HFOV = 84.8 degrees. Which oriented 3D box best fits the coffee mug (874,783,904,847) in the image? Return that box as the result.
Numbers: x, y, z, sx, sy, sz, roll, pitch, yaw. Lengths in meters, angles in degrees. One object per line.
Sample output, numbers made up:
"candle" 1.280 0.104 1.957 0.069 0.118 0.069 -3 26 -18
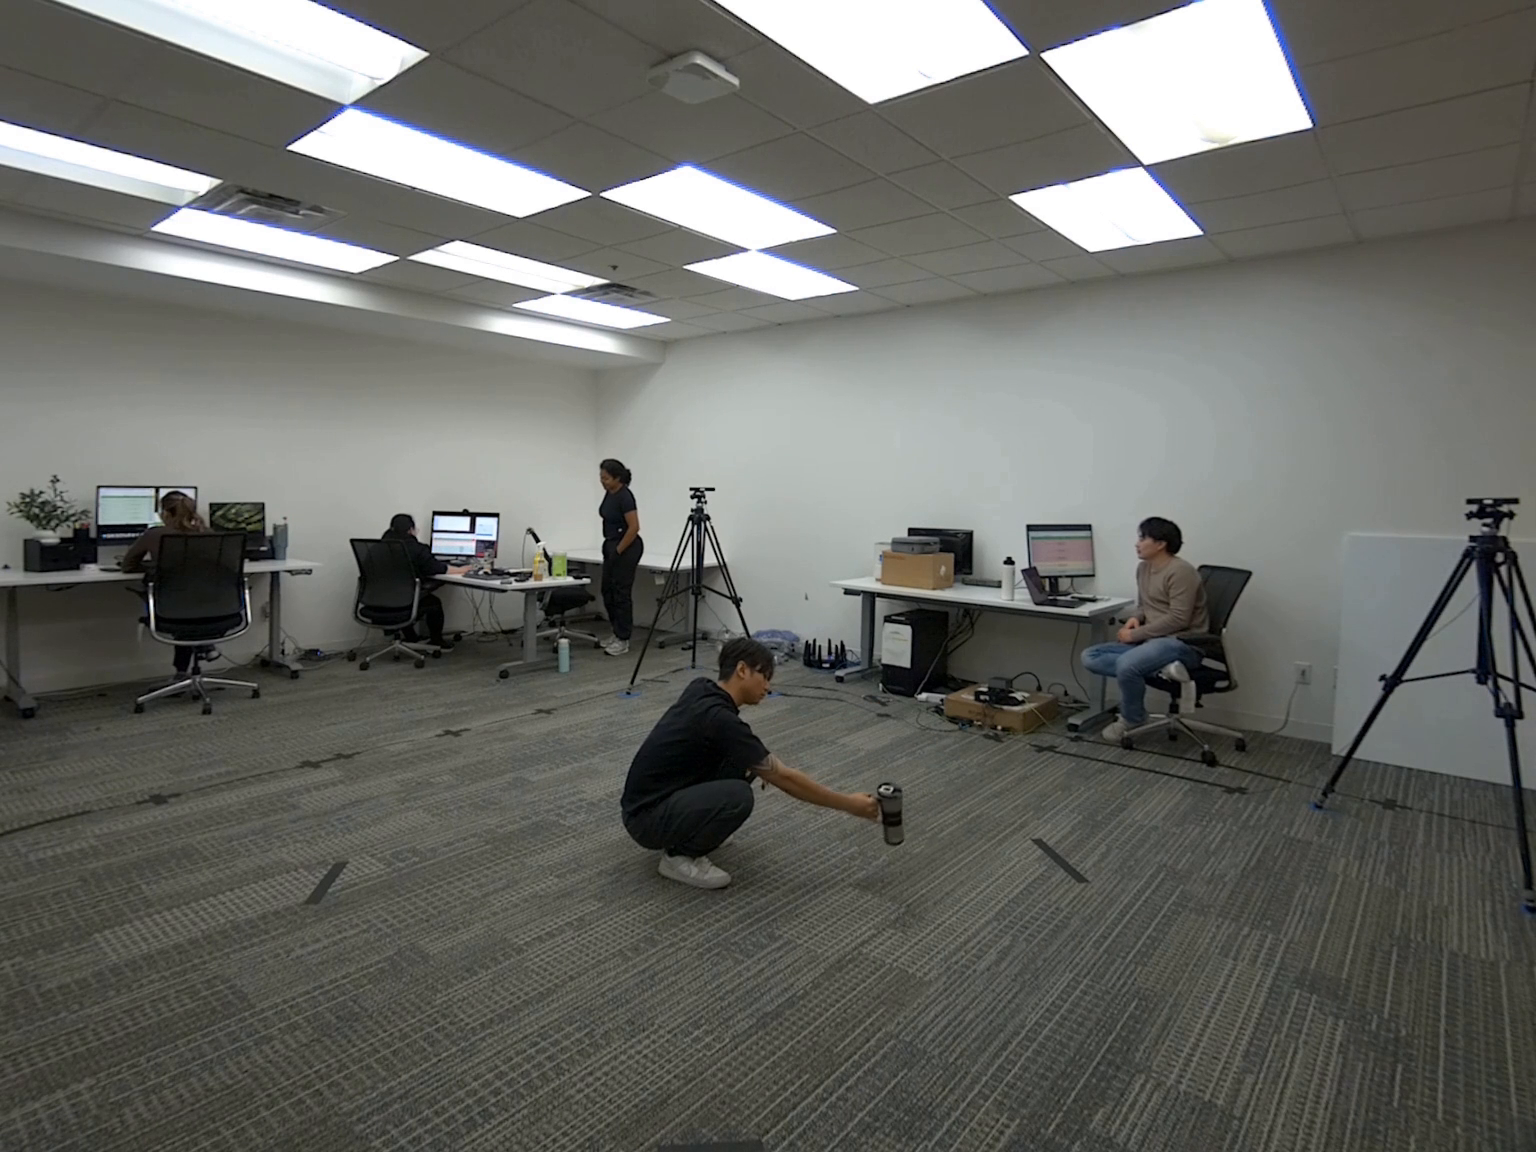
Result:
"coffee mug" 0.413 0.832 3.004 0.126 0.199 0.086 12 25 40
